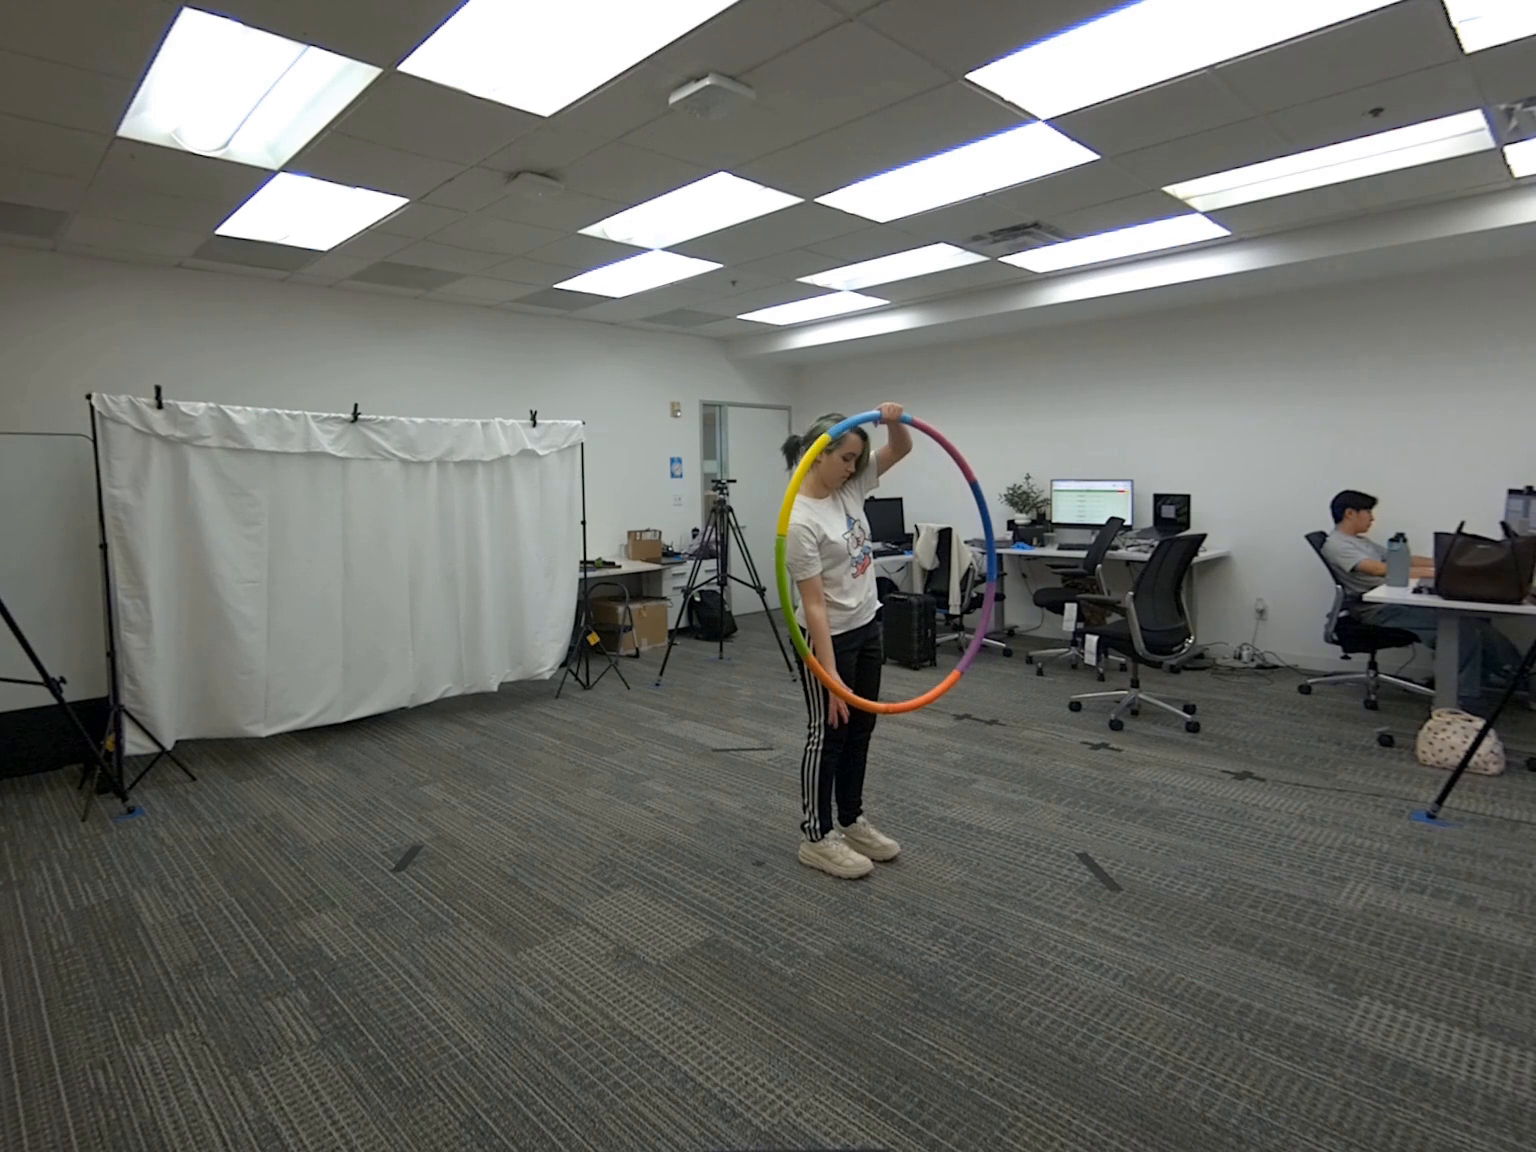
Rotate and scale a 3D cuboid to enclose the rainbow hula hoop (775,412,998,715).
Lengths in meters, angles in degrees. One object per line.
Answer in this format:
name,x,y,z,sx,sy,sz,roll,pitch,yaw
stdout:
rainbow hula hoop,0.423,-0.041,2.824,0.954,0.979,0.036,-4,0,-35
